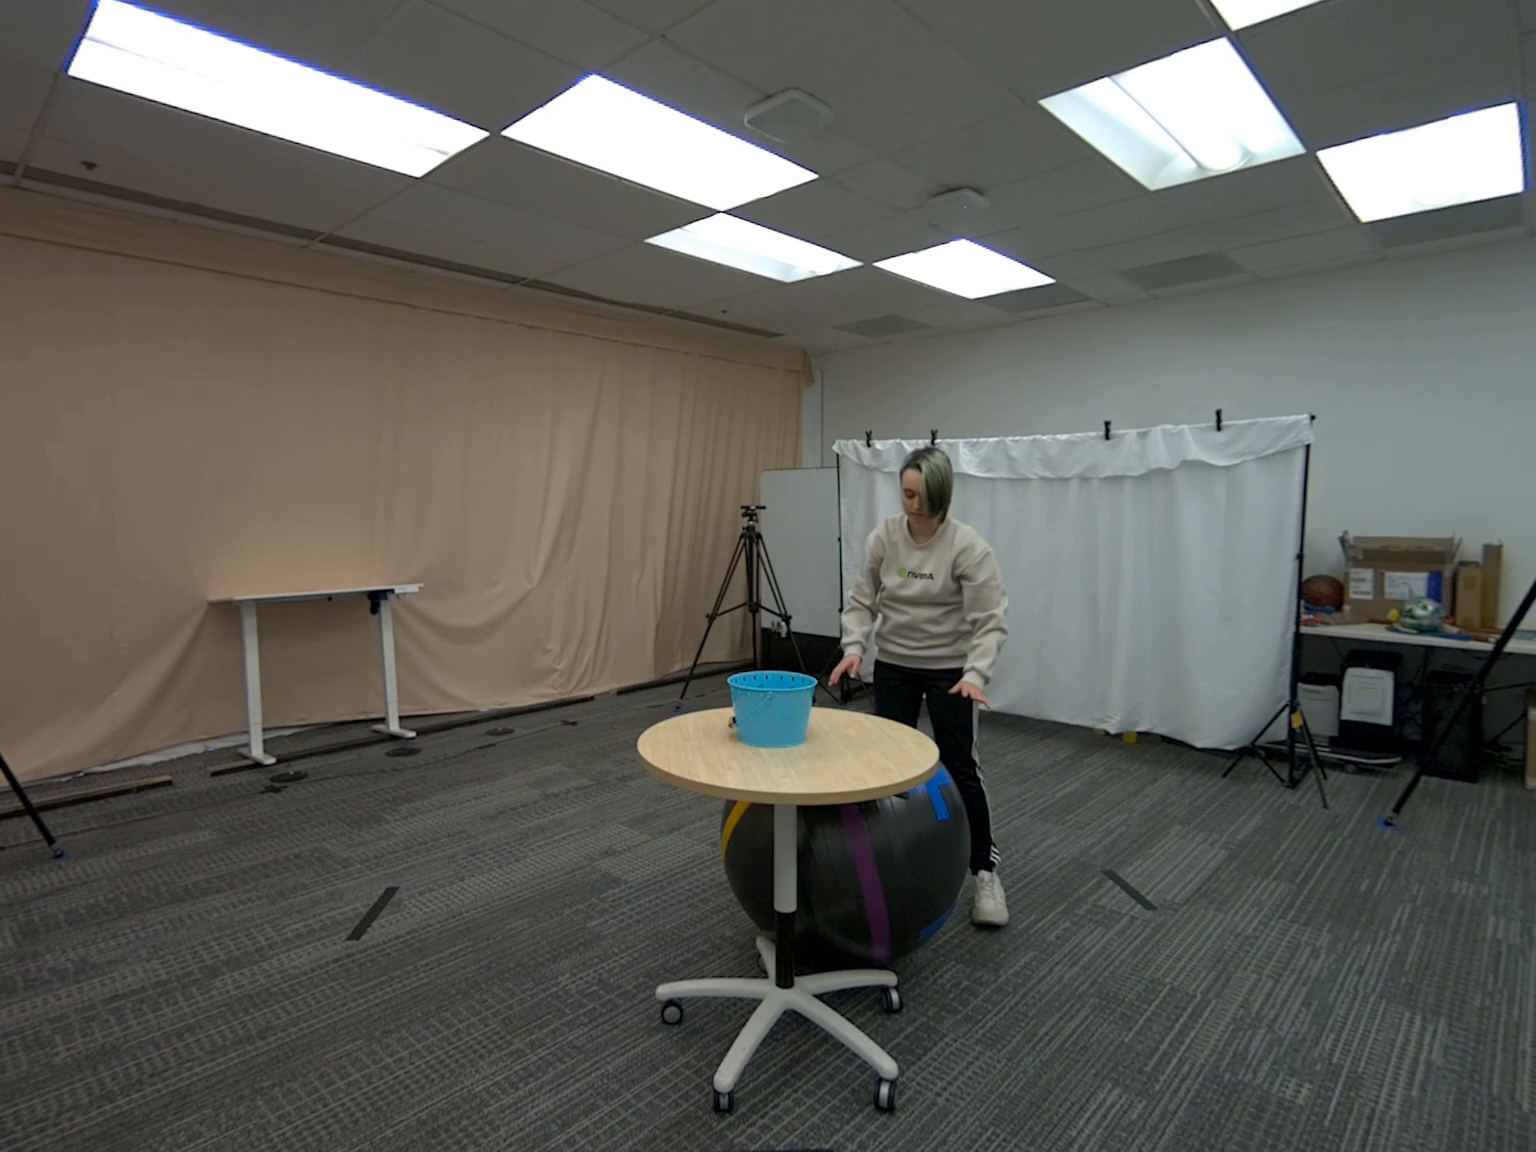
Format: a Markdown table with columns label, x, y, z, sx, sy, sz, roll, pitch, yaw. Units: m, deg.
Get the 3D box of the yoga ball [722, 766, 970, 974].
| label | x | y | z | sx | sy | sz | roll | pitch | yaw |
| --- | --- | --- | --- | --- | --- | --- | --- | --- | --- |
| yoga ball | 0.232 | 0.801 | 2.609 | 0.757 | 0.756 | 0.761 | 0 | 4 | -2 |
